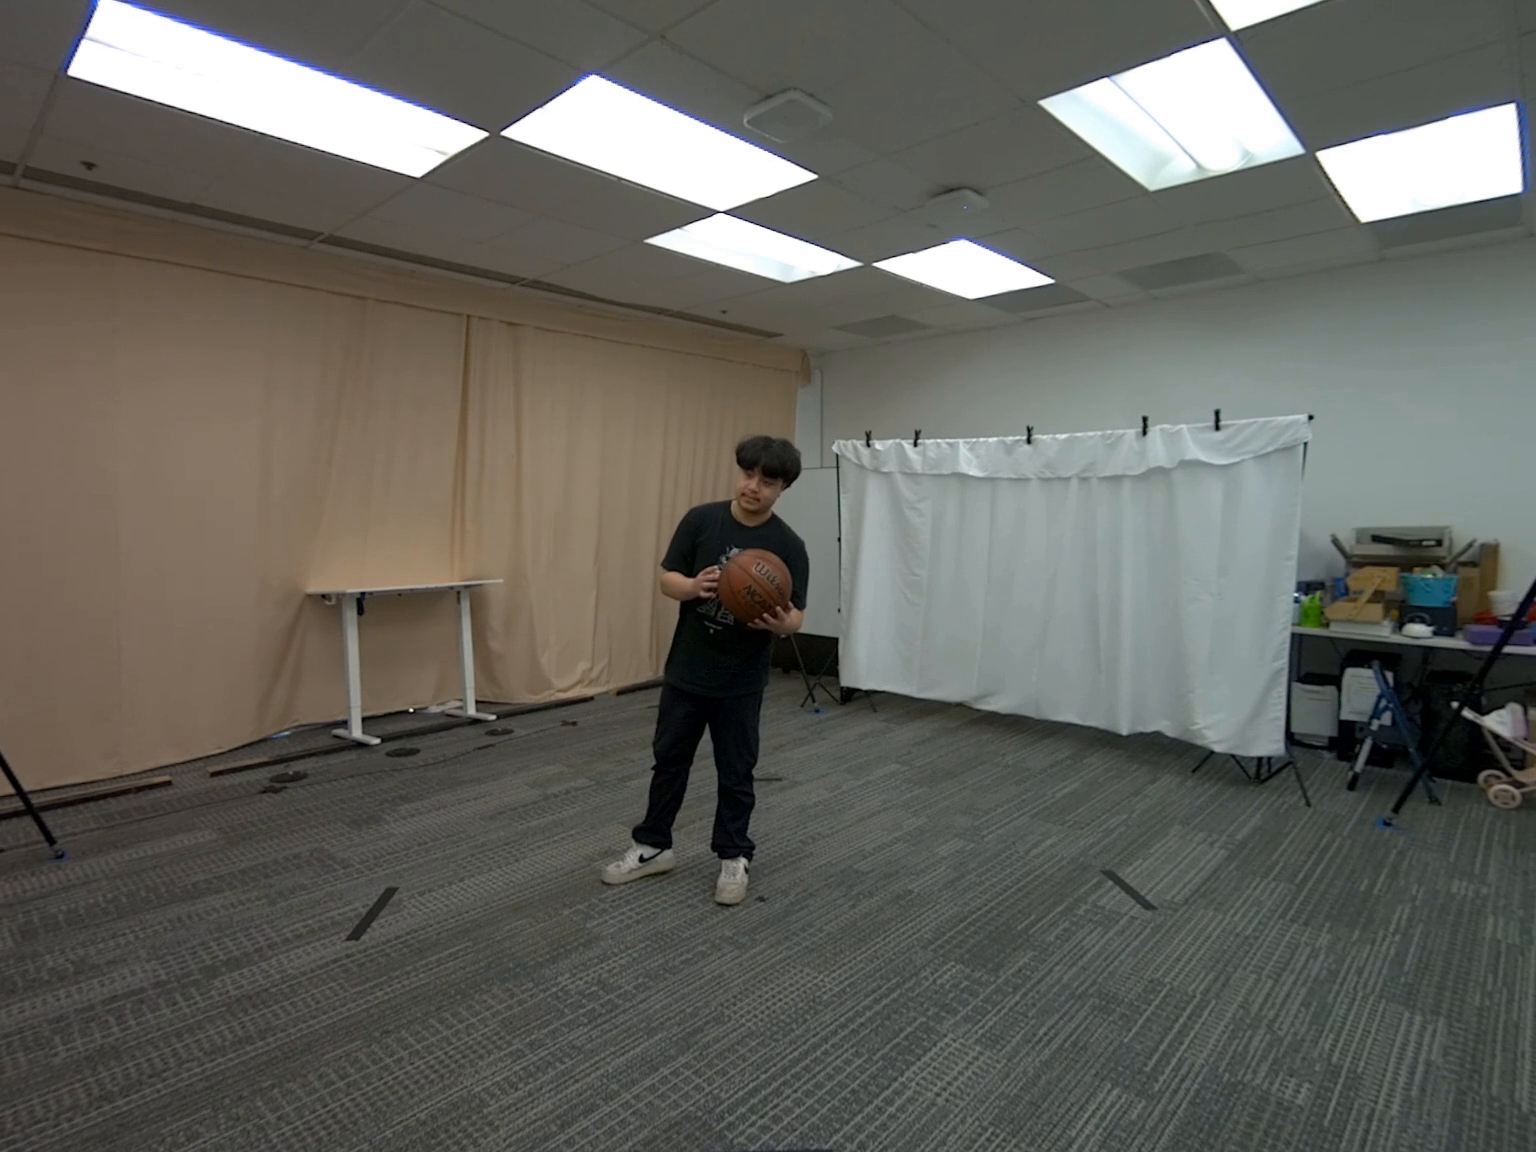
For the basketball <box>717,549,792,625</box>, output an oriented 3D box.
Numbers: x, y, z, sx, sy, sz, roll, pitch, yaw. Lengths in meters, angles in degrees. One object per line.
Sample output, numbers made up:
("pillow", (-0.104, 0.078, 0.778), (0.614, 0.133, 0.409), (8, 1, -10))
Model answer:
("basketball", (-0.049, 0.032, 2.705), (0.236, 0.235, 0.237), (0, 4, -2))
